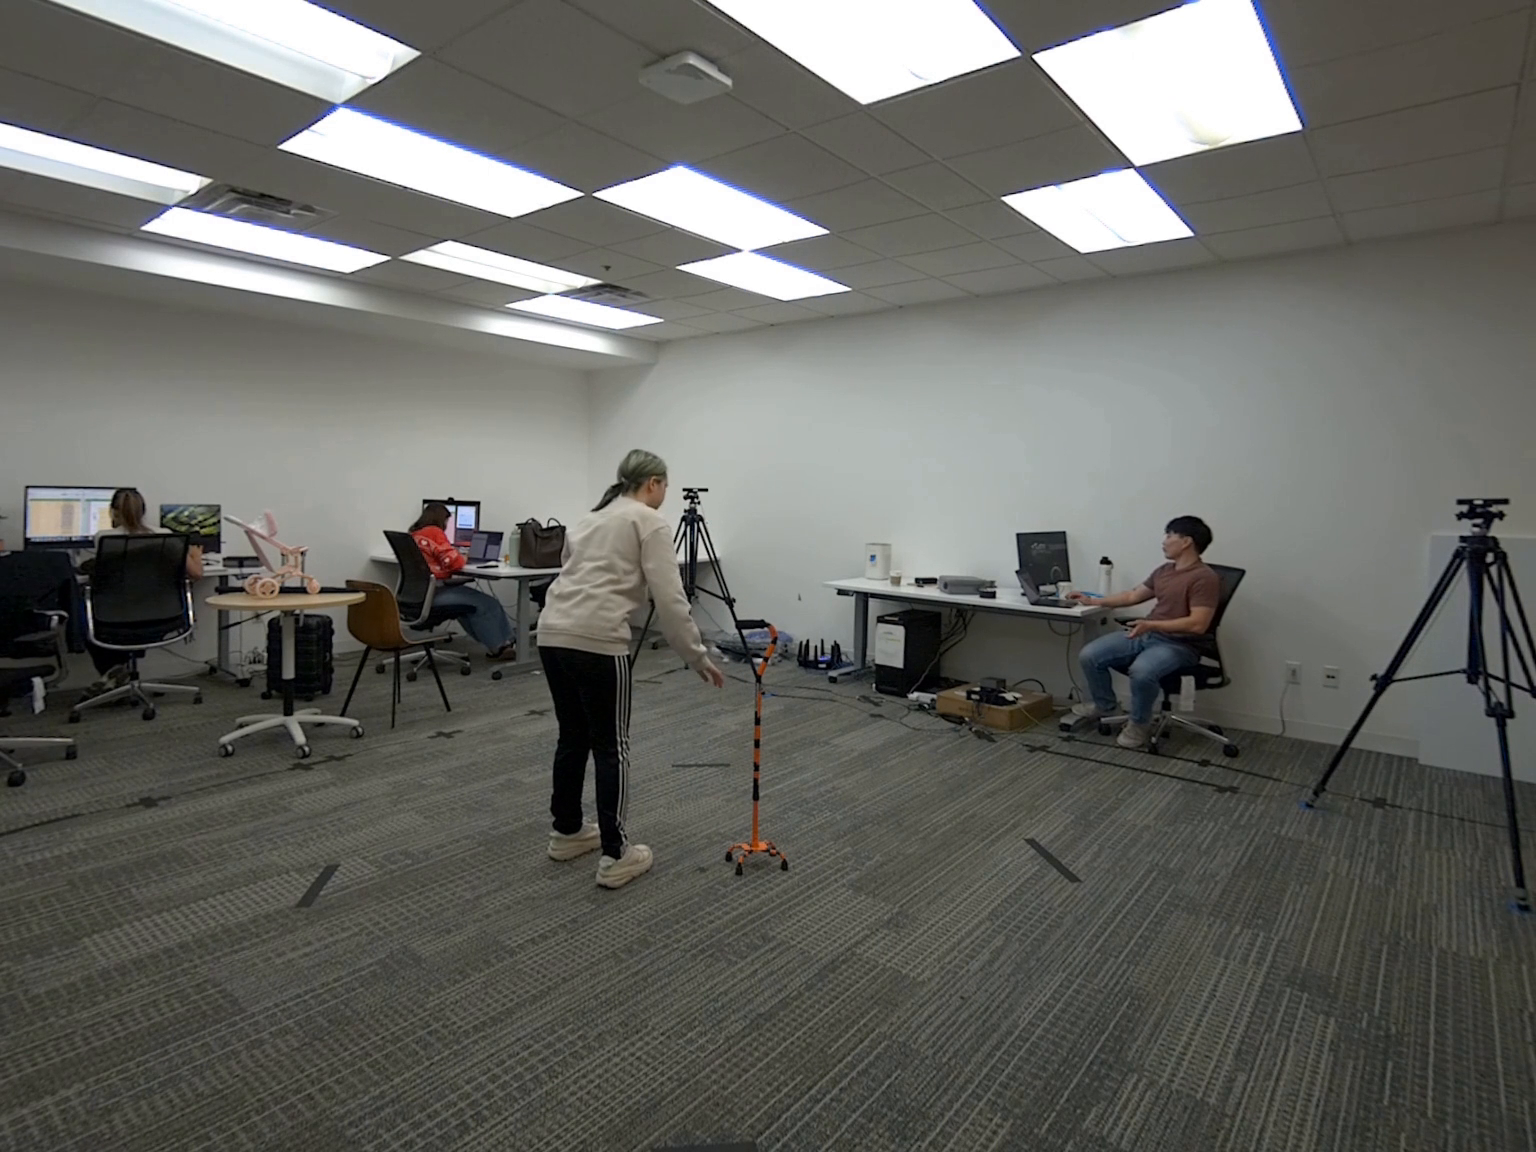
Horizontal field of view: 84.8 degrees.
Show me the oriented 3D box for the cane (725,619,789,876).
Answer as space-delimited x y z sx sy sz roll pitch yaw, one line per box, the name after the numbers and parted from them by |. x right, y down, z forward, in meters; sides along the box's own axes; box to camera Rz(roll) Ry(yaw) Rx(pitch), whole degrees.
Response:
-0.035 0.621 3.138 0.203 0.906 0.154 2 2 -17 | cane
